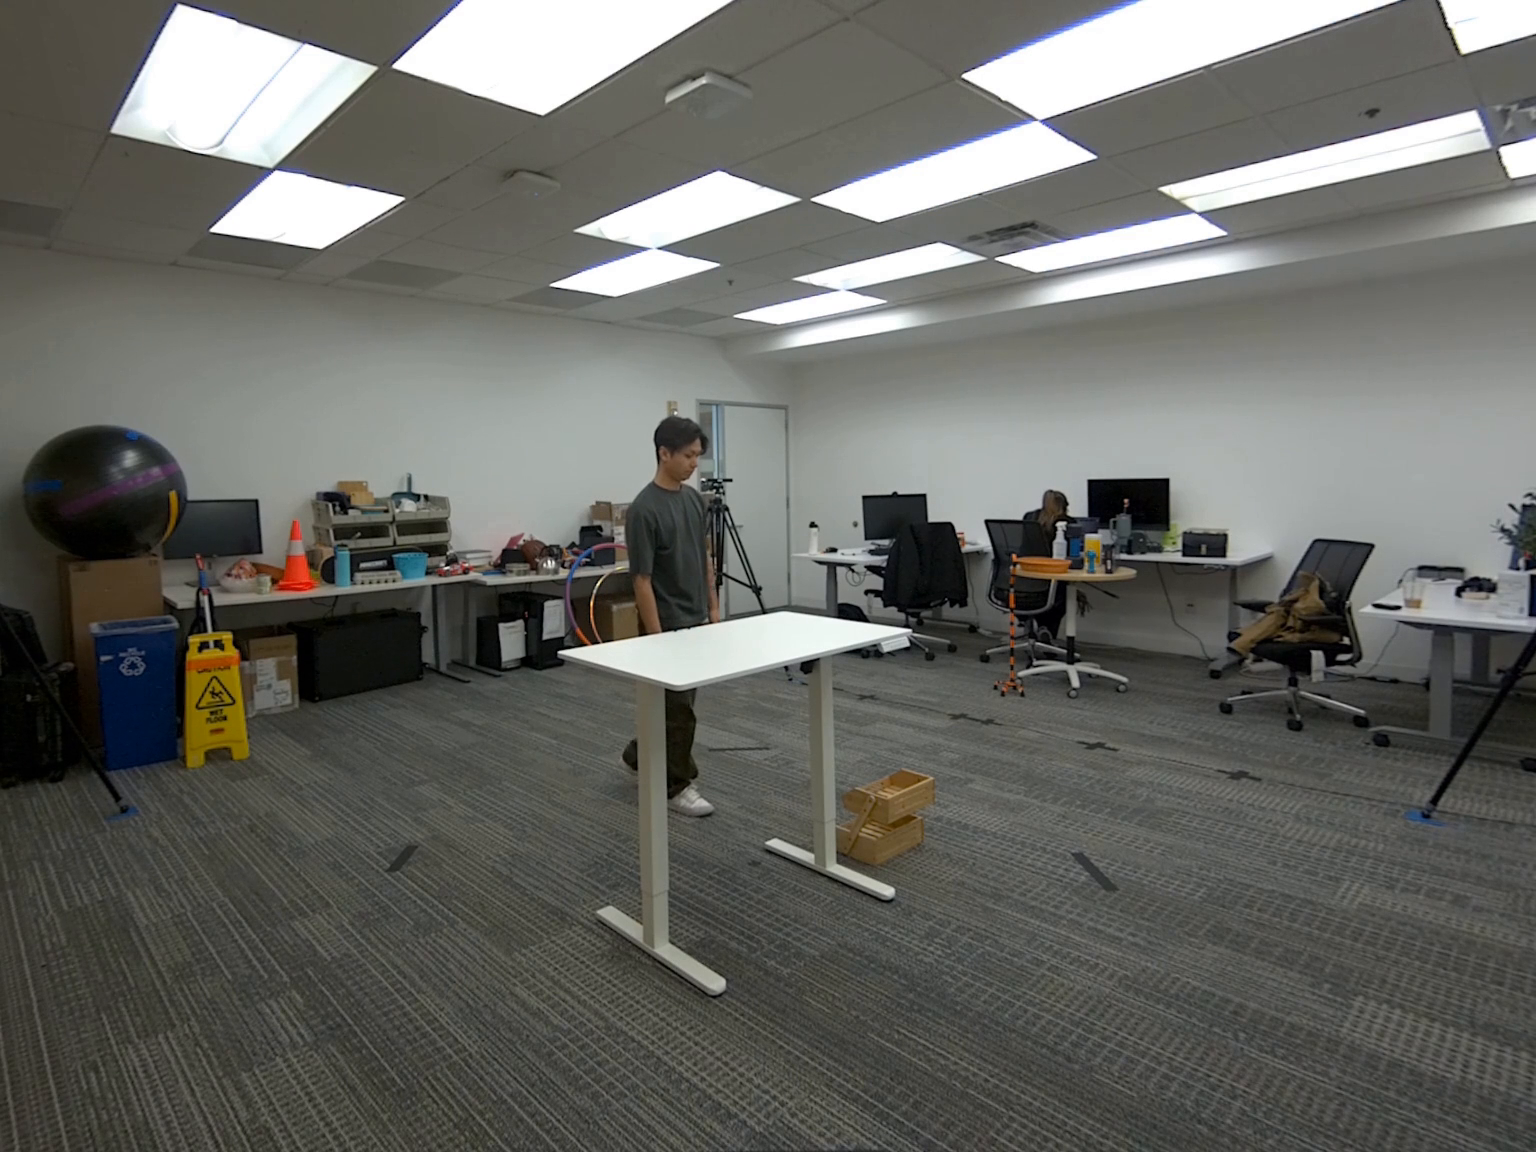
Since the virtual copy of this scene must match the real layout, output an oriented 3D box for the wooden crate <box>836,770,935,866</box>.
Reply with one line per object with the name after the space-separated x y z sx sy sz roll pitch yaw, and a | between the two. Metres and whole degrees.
0.420 0.890 3.233 0.311 0.272 0.316 5 8 45 | wooden crate
